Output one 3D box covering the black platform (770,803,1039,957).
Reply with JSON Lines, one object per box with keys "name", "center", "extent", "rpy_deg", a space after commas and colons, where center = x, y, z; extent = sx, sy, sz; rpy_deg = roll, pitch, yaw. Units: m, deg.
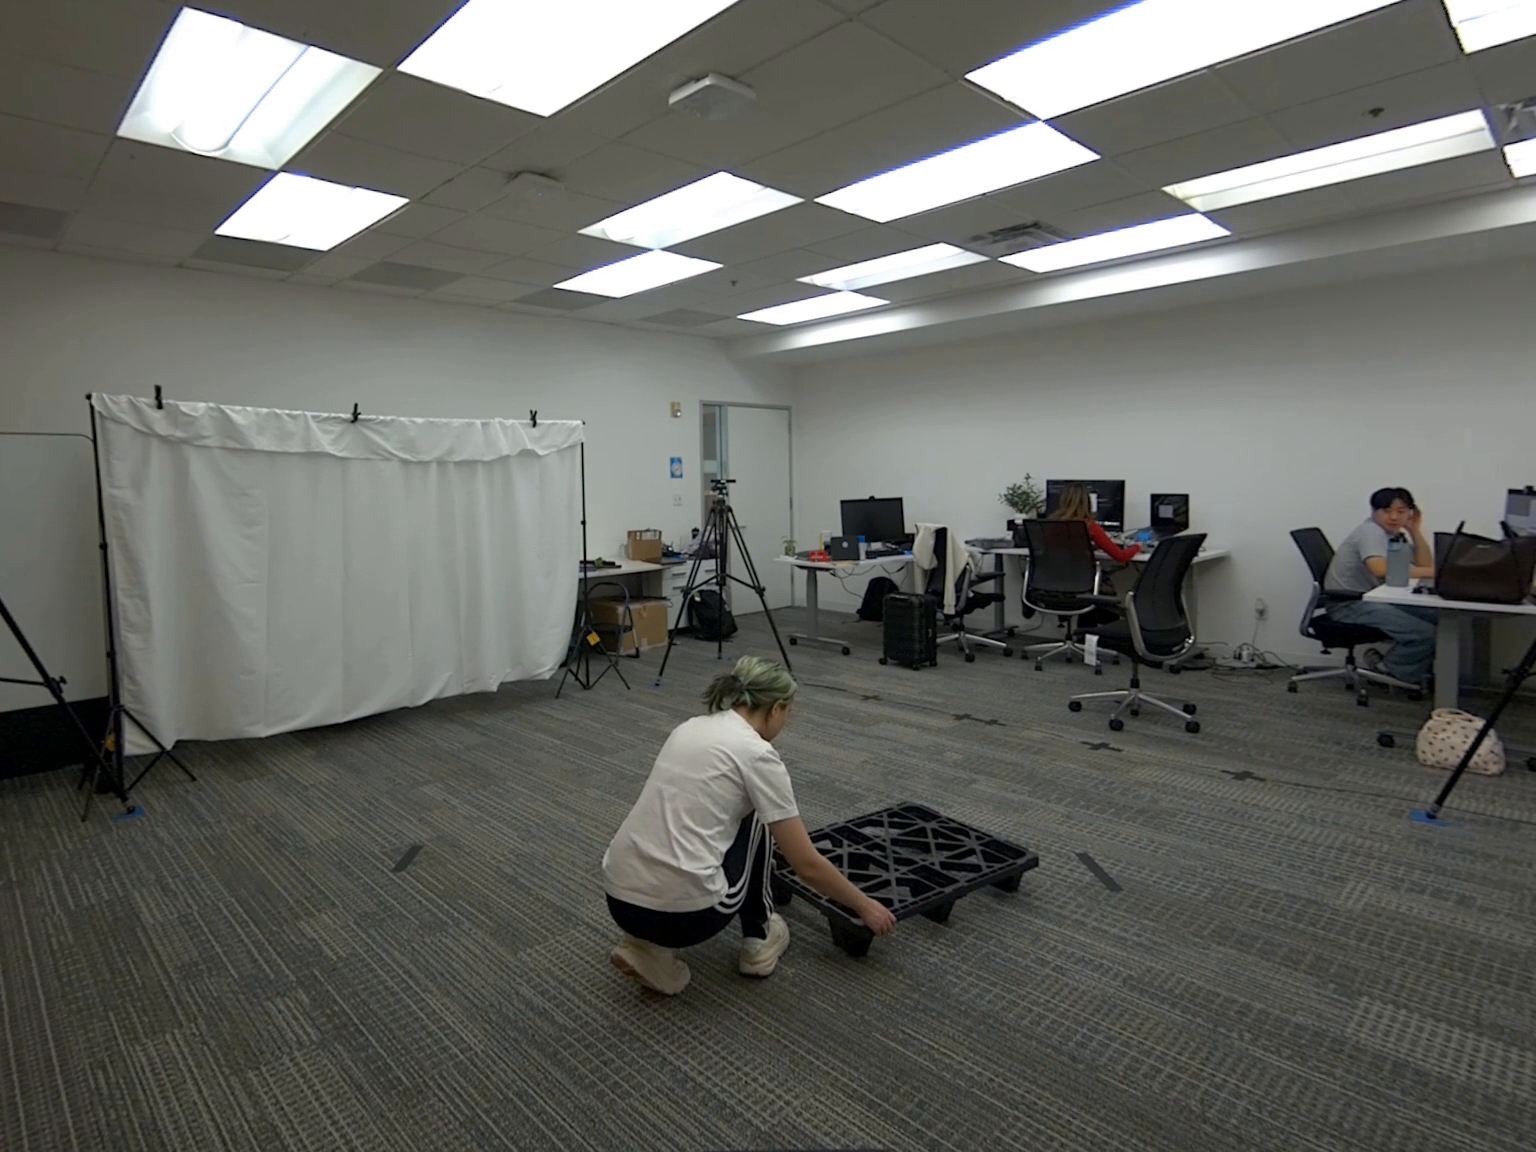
{"name": "black platform", "center": [0.414, 1.000, 2.876], "extent": [0.786, 0.143, 0.623], "rpy_deg": [-5, 7, -34]}
